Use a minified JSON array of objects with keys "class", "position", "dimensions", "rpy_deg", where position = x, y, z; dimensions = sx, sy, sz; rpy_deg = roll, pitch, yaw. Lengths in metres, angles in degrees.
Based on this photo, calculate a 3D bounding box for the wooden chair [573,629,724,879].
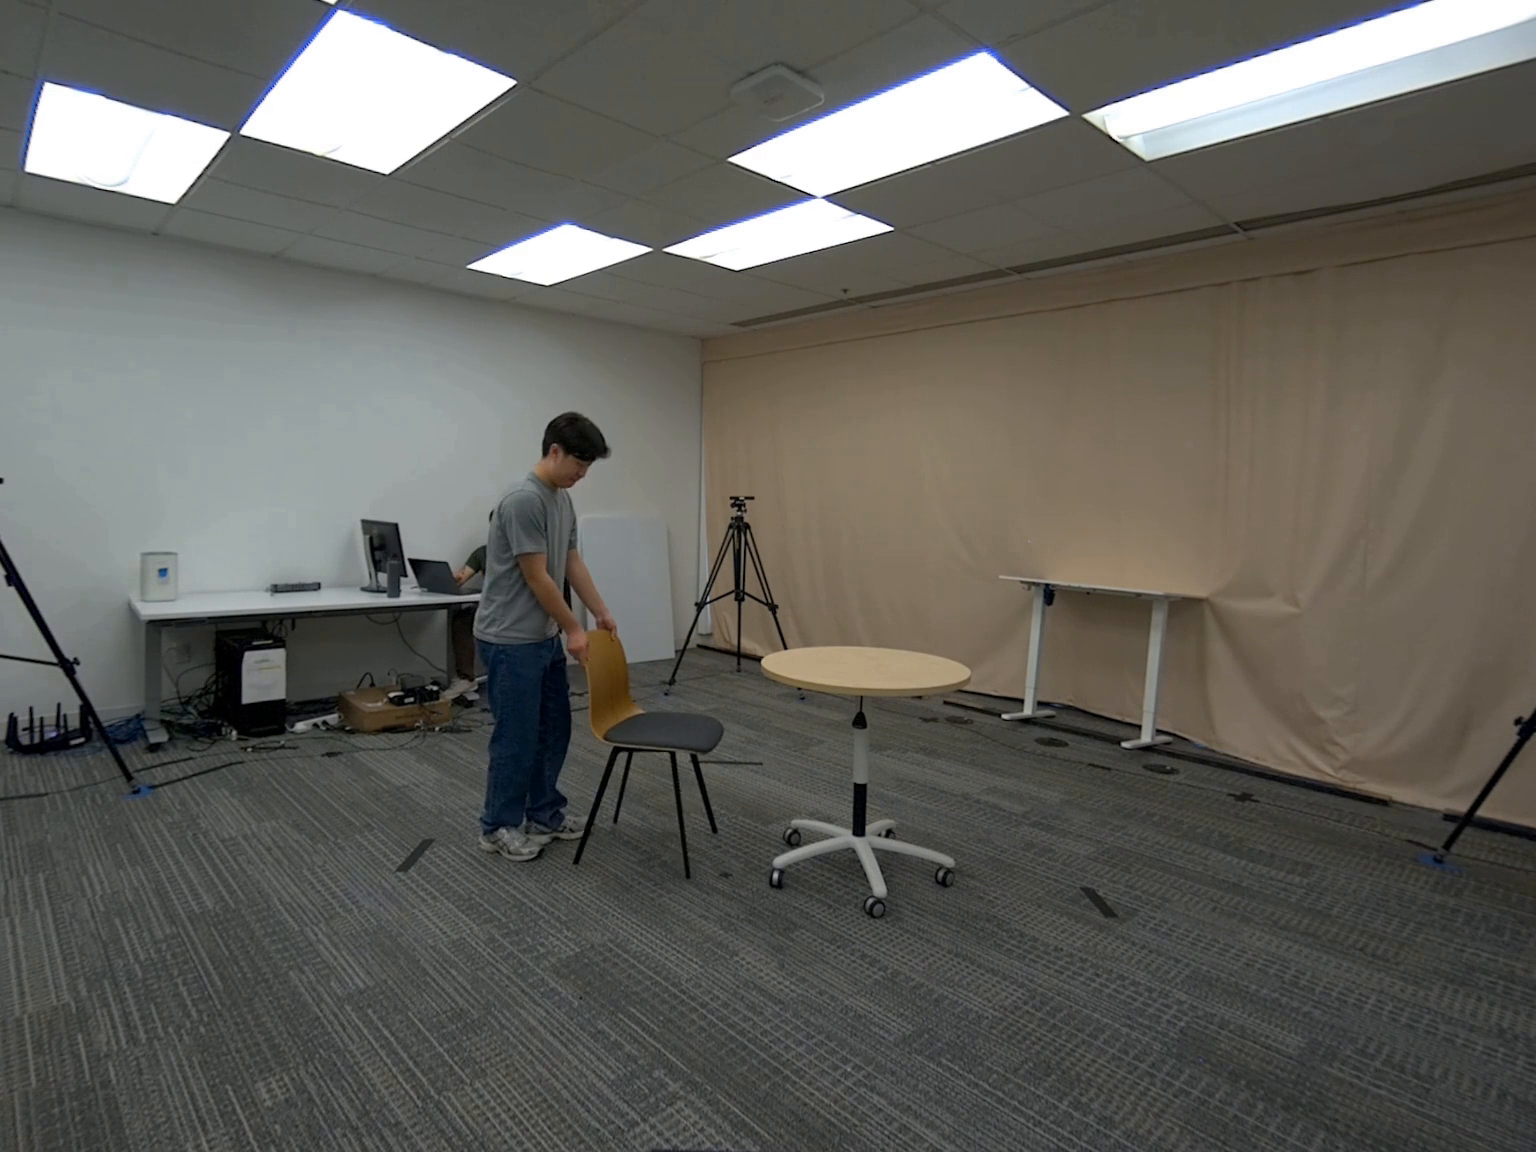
[{"class":"wooden chair","position":[-0.457,0.649,3.292],"dimensions":[0.528,0.876,0.474],"rpy_deg":[-2,2,12]}]
